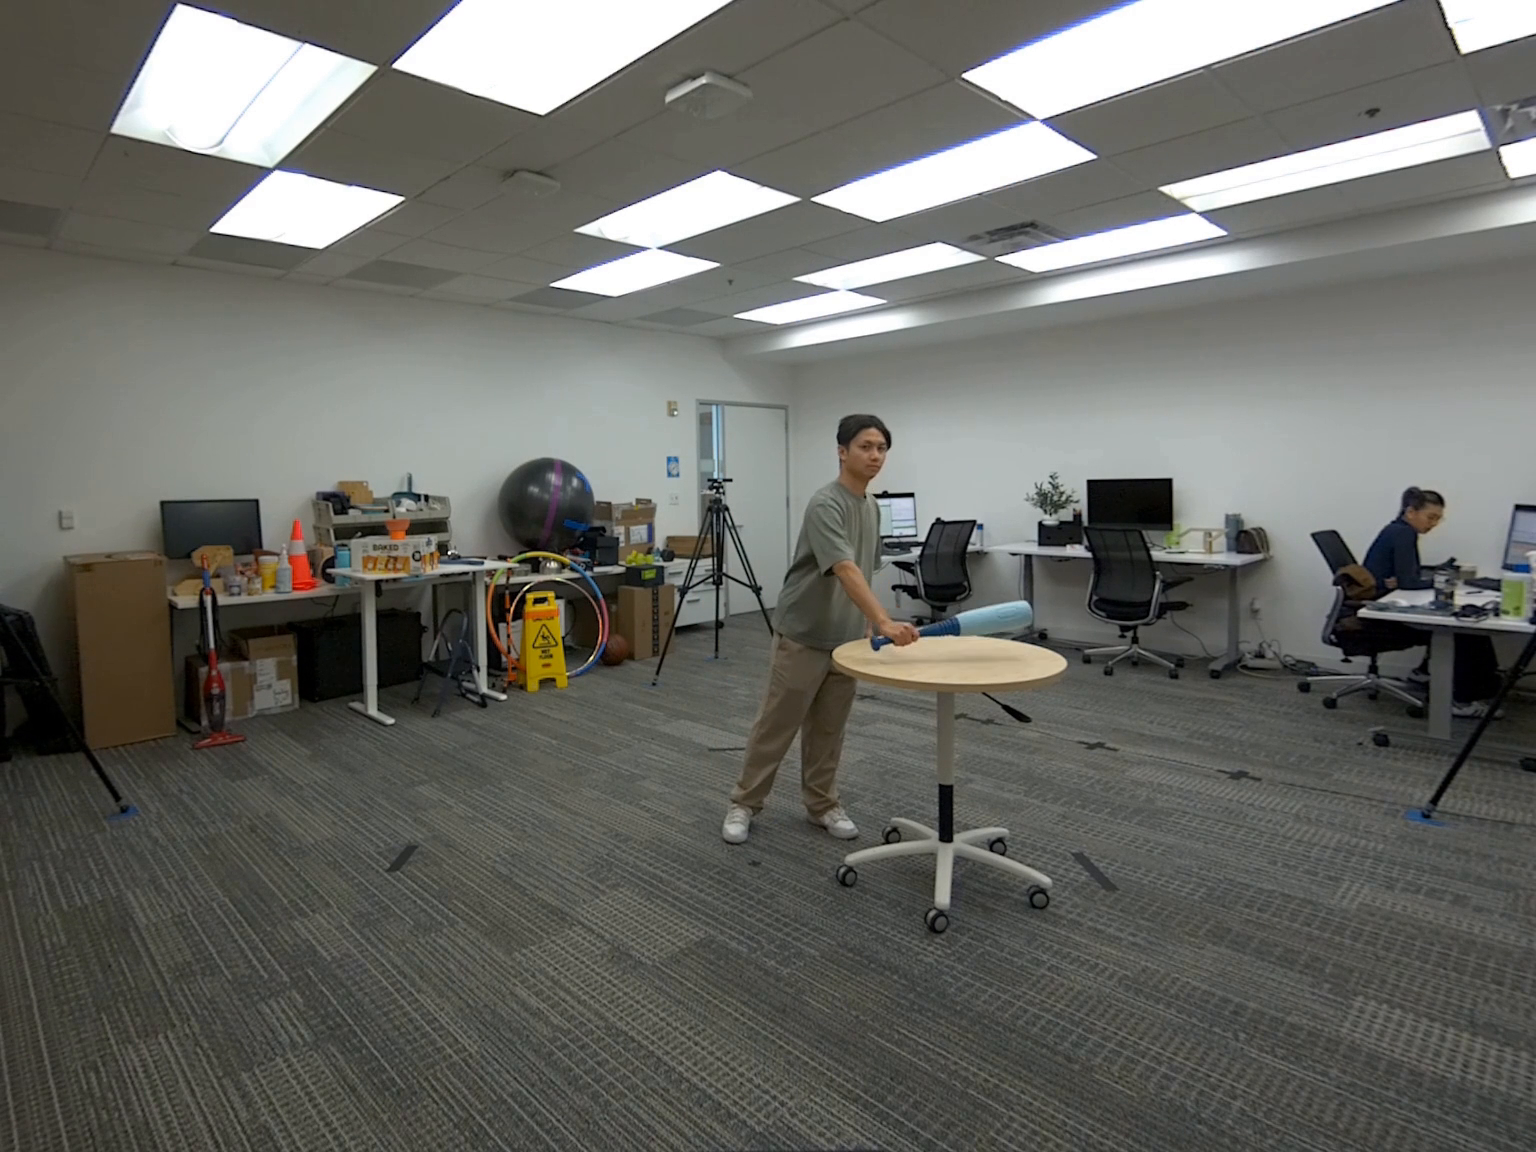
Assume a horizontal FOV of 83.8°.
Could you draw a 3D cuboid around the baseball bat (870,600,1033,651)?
[{"bbox_3d":[0.603,0.175,2.809,0.541,0.088,0.090,-11,6,-3],"label":"baseball bat"}]
